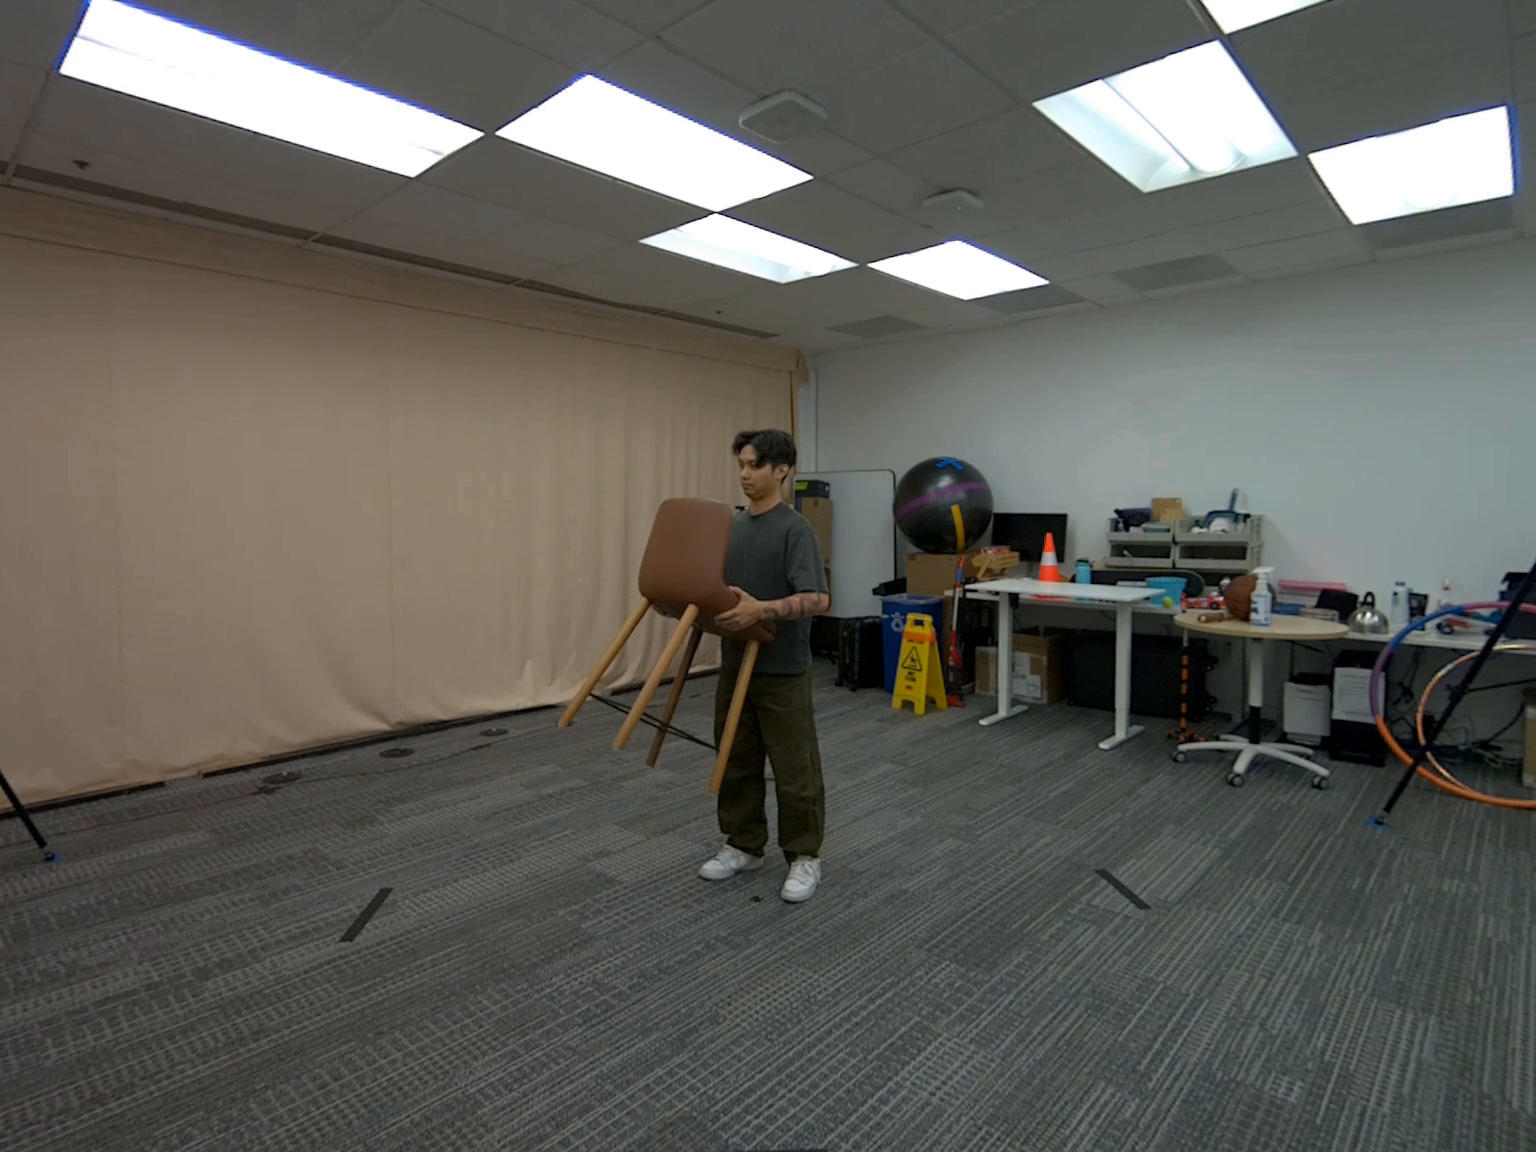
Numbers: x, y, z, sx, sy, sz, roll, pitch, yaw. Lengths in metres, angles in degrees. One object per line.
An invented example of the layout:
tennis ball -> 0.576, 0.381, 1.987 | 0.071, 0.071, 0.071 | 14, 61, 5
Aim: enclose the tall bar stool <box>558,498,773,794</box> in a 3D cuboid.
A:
tall bar stool -> -0.274, 0.228, 2.942 | 0.451, 0.892, 0.471 | 33, -18, -37
